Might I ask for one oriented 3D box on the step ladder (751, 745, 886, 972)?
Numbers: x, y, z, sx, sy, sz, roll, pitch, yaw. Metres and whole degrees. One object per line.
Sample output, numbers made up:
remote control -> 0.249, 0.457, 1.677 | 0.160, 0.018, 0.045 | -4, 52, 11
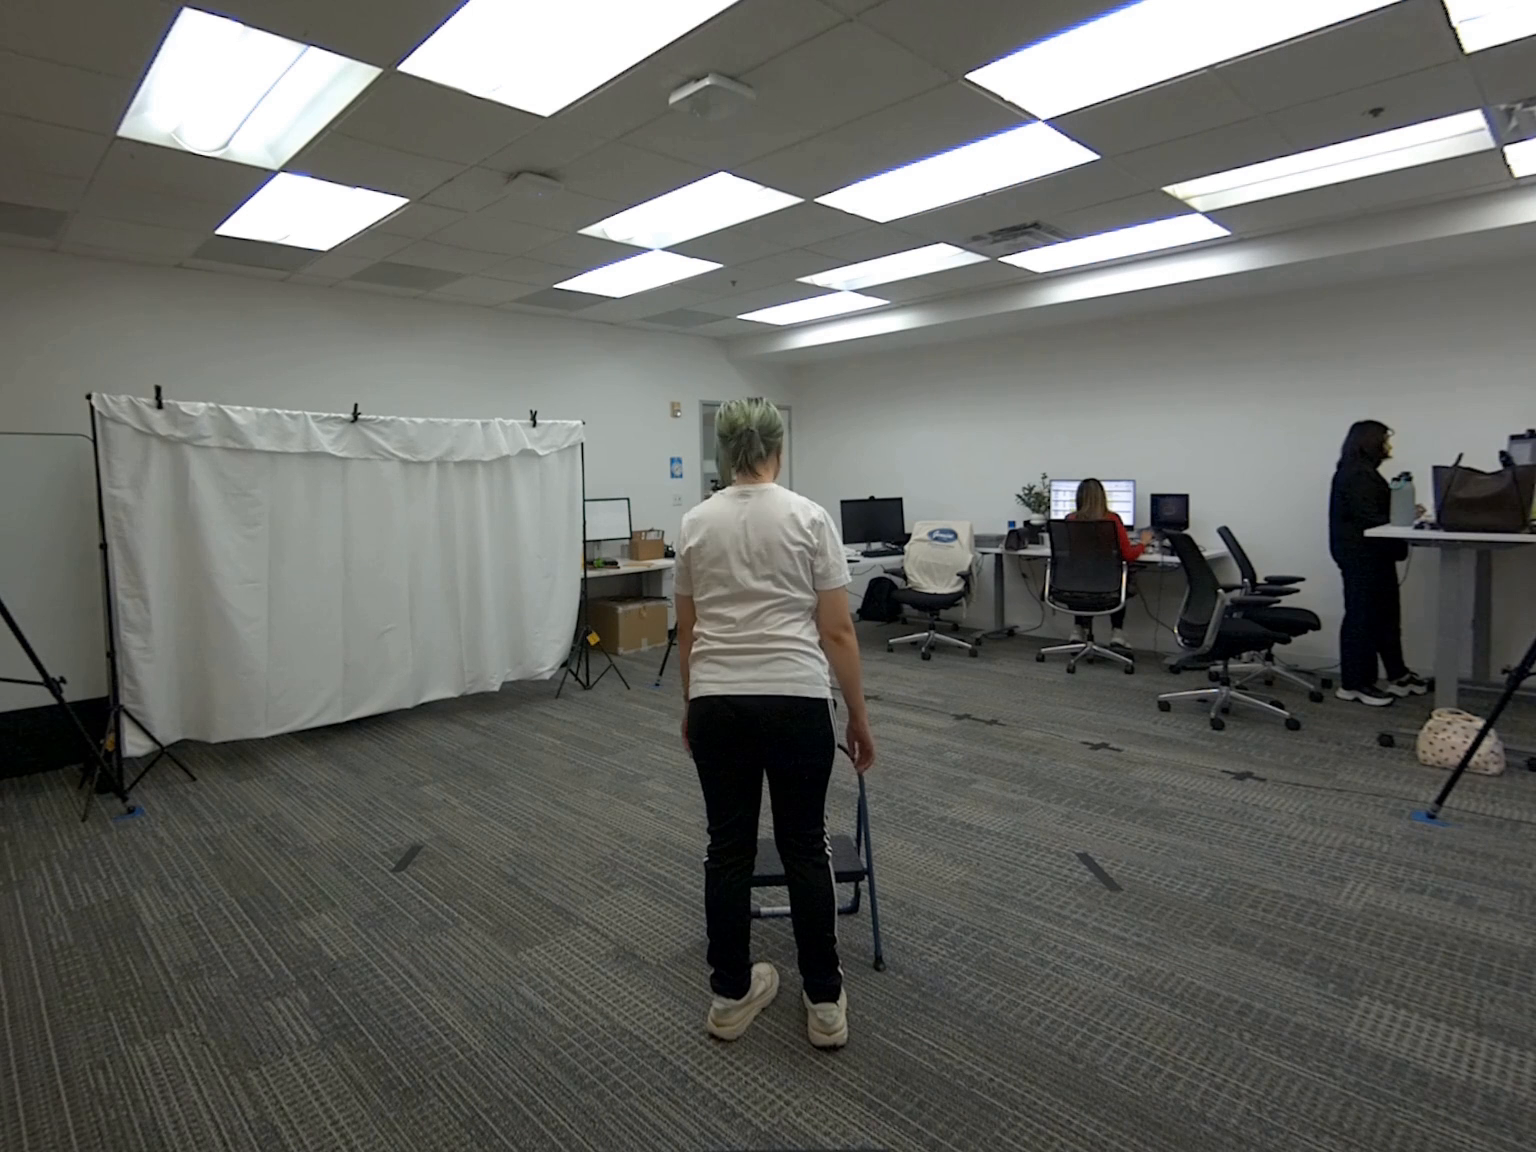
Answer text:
step ladder -> 0.109, 0.811, 2.567 | 0.429, 0.604, 0.352 | -2, 4, -4
